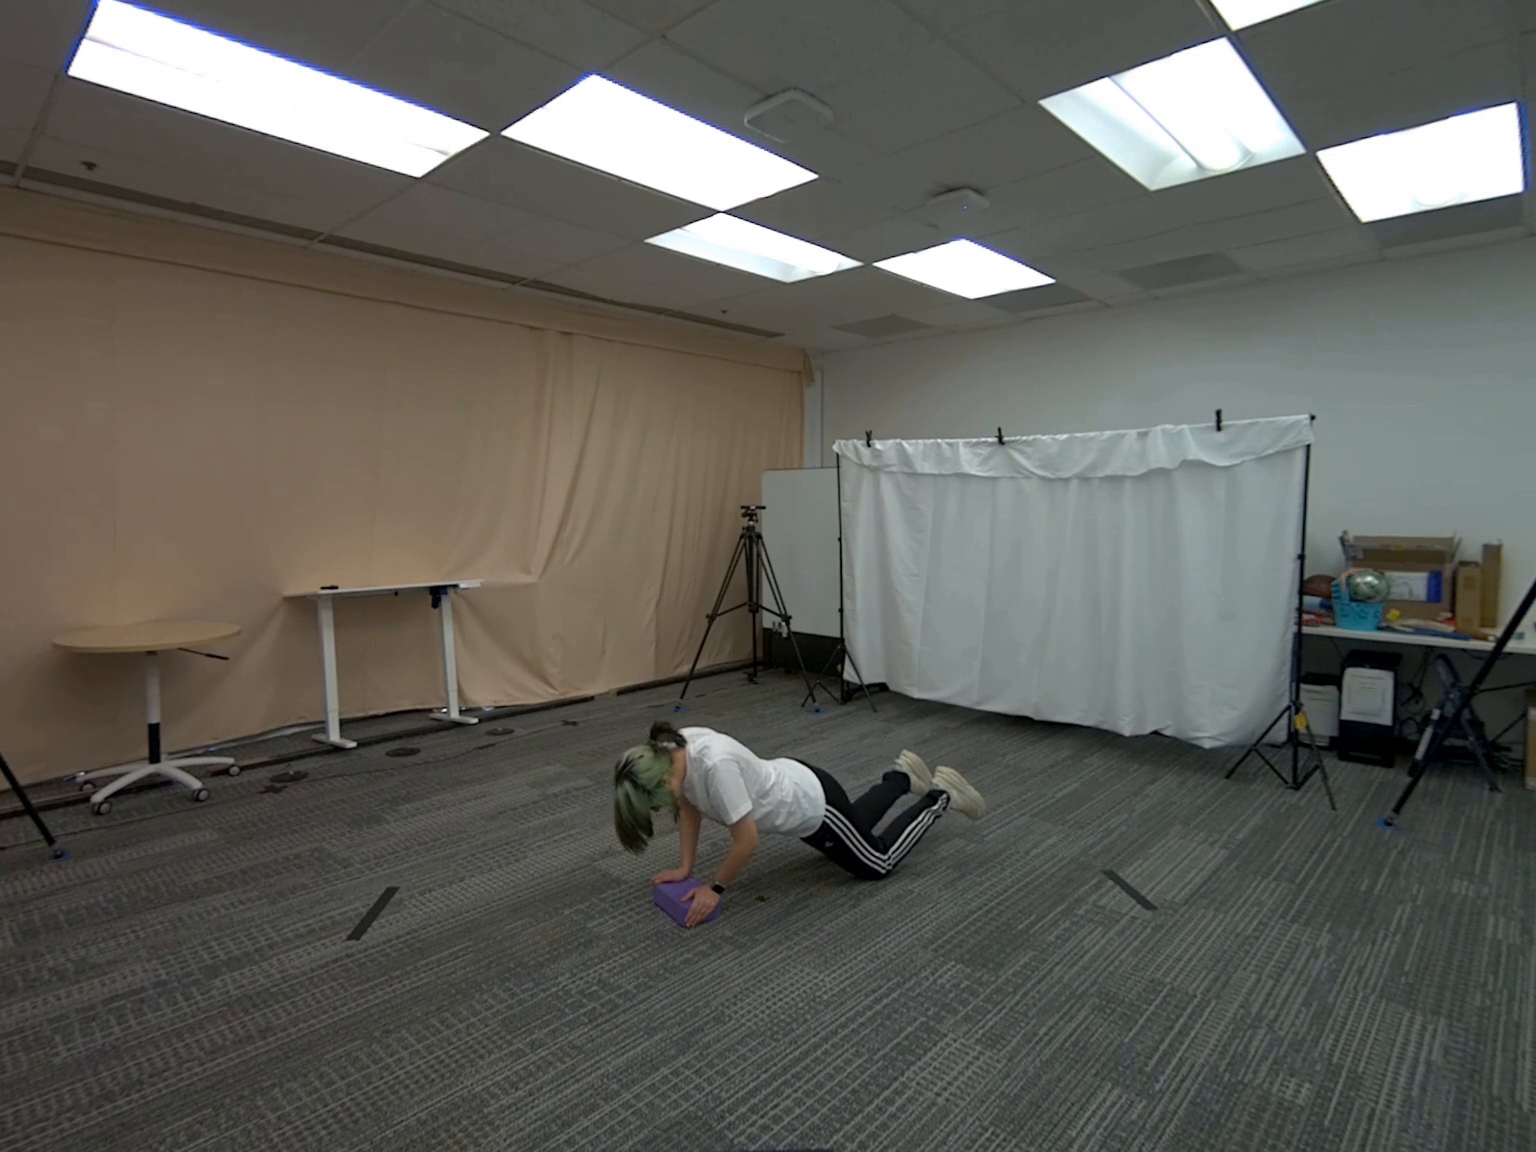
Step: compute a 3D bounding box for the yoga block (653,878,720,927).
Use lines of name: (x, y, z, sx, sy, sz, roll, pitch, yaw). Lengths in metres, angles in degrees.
yoga block: (-0.277, 1.117, 2.906, 0.145, 0.076, 0.236, -6, 7, -34)
